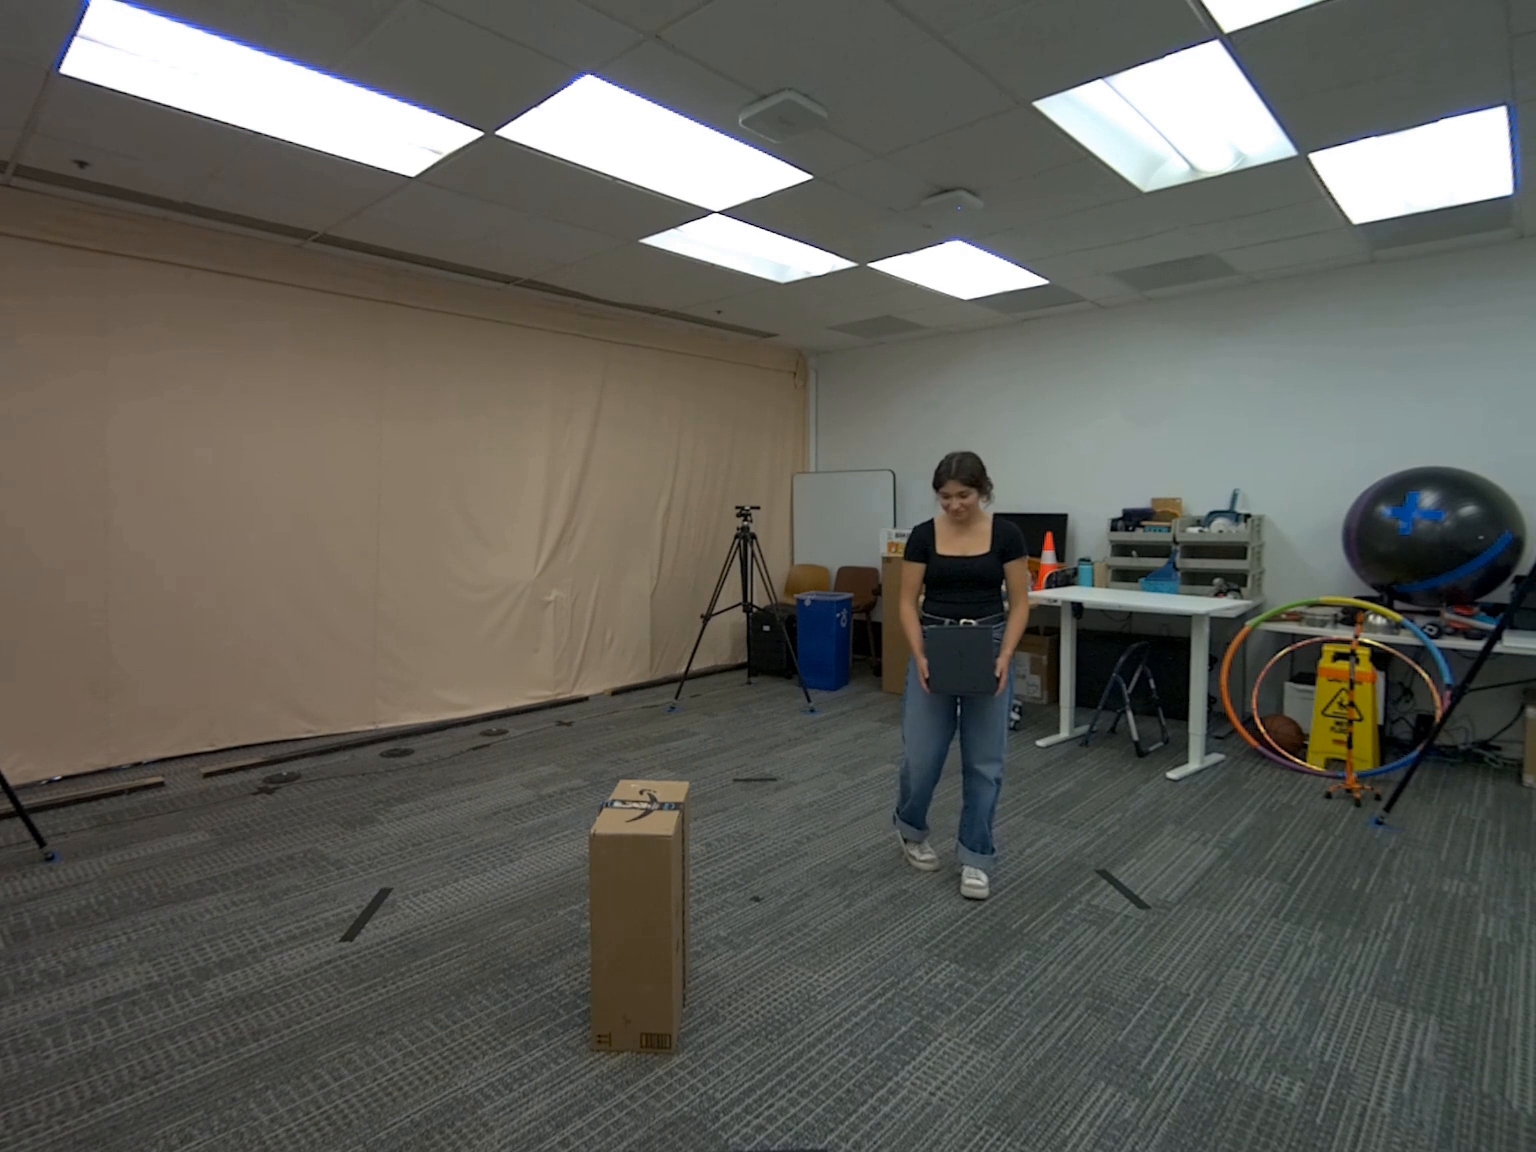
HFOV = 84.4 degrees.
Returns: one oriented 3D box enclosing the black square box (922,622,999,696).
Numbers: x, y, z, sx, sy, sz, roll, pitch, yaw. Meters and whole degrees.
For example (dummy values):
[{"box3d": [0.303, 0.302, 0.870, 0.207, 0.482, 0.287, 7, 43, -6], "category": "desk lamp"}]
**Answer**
[{"box3d": [0.660, 0.283, 2.896, 0.221, 0.228, 0.153, -2, -2, 18], "category": "black square box"}]
